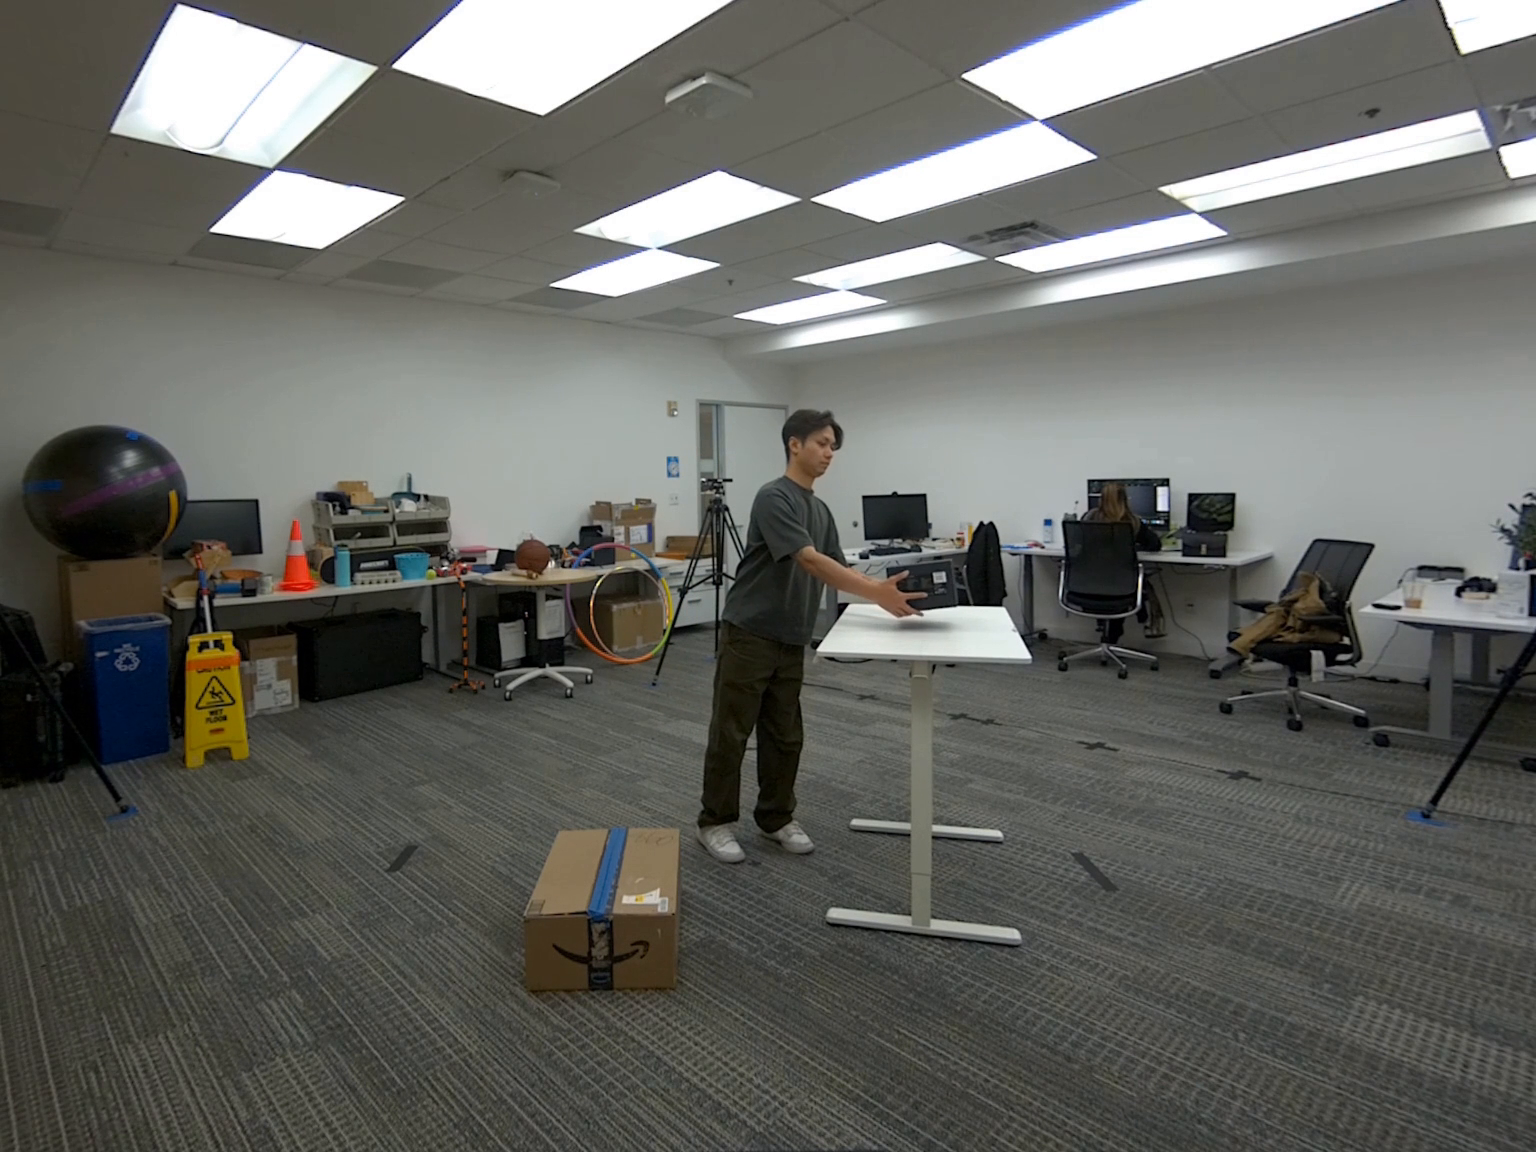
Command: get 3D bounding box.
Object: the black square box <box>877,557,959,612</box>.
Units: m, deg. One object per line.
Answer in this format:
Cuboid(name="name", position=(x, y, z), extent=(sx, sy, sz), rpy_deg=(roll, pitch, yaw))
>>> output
Cuboid(name="black square box", position=(0.528, 0.031, 2.923), extent=(0.220, 0.156, 0.225), rpy_deg=(-7, 0, 15))
